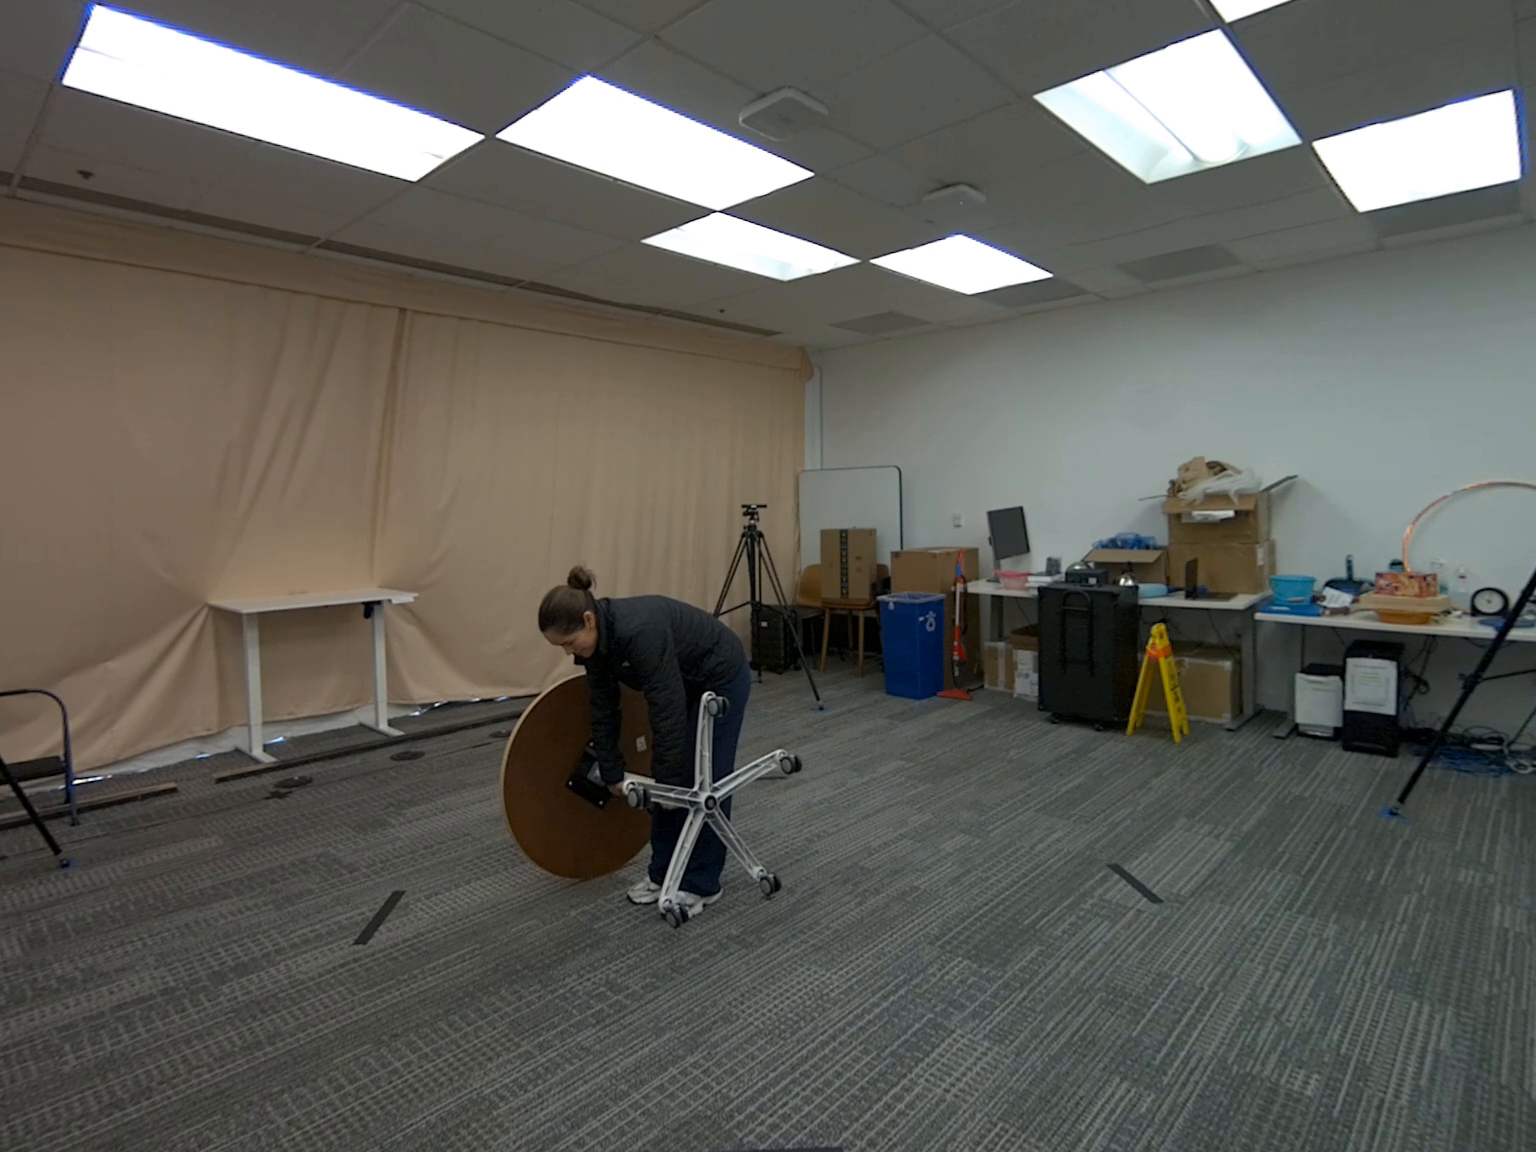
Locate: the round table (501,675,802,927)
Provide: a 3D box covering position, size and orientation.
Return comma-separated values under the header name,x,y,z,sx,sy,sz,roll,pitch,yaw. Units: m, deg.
name,x,y,z,sx,sy,sz,roll,pitch,yaw
round table,-0.377,0.744,2.928,0.761,0.785,0.811,-4,1,-43
